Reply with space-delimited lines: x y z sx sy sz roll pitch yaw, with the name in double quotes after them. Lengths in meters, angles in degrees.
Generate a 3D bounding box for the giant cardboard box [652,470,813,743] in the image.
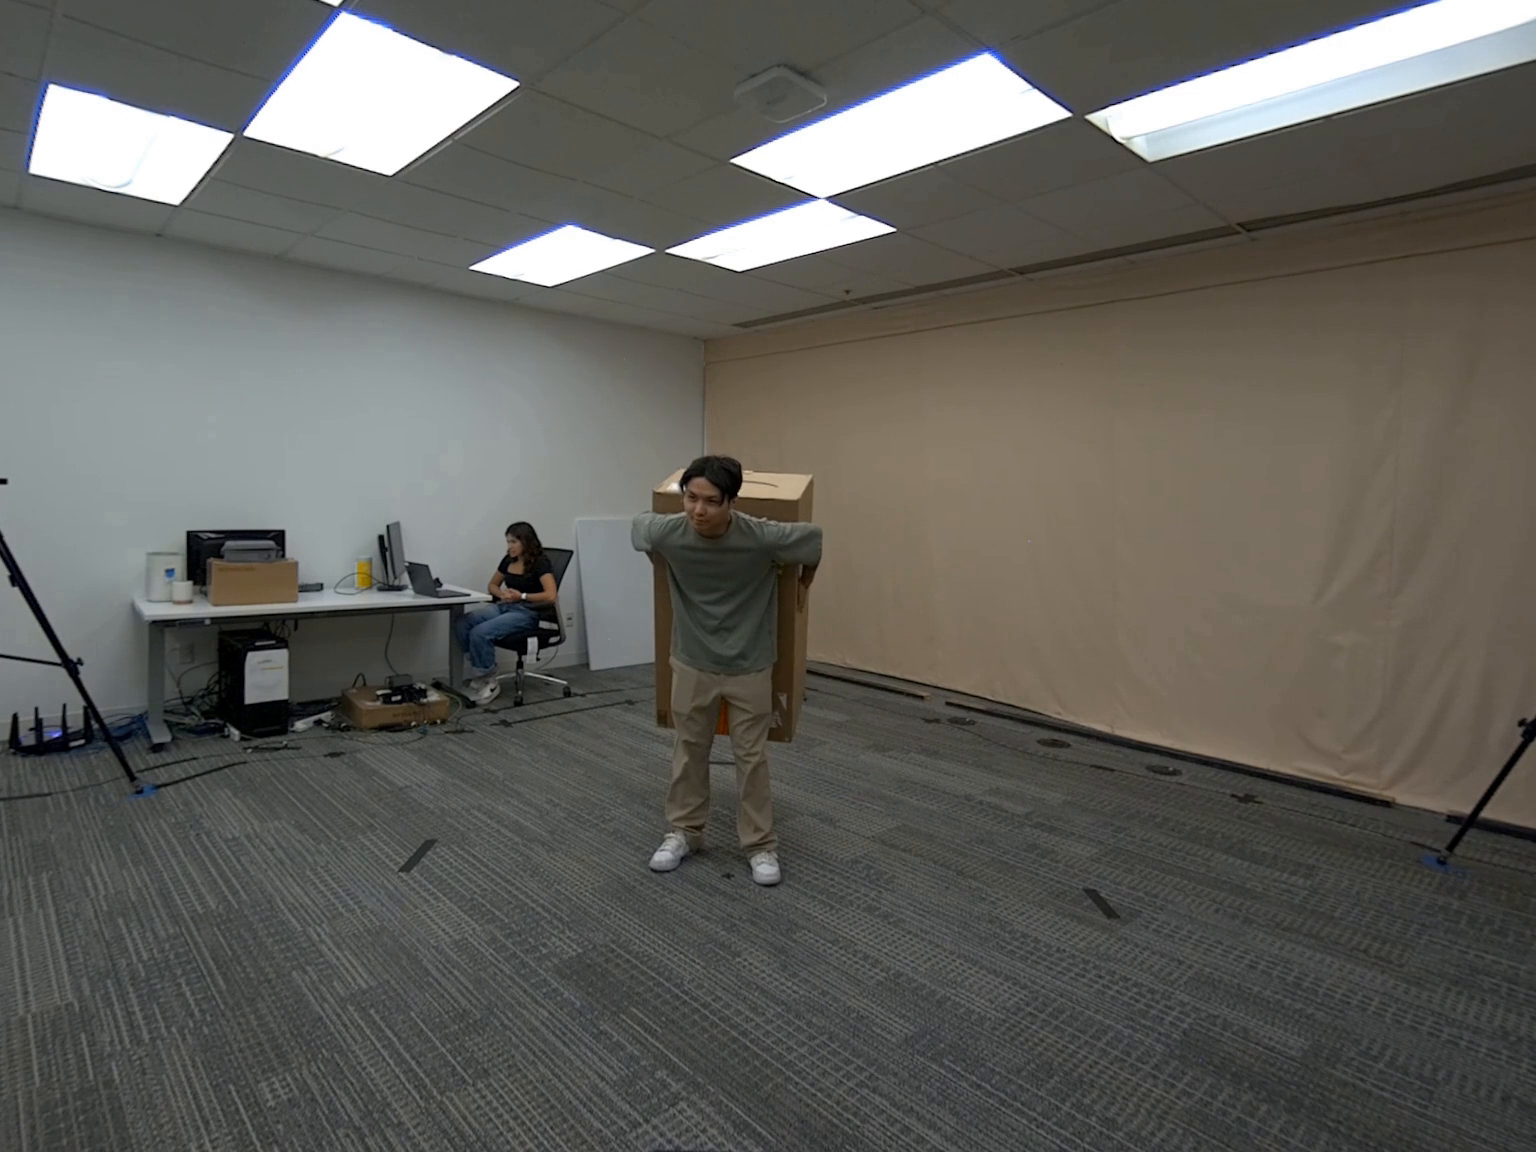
-0.150 0.110 3.511 0.583 1.013 0.428 5 18 10 "giant cardboard box"
